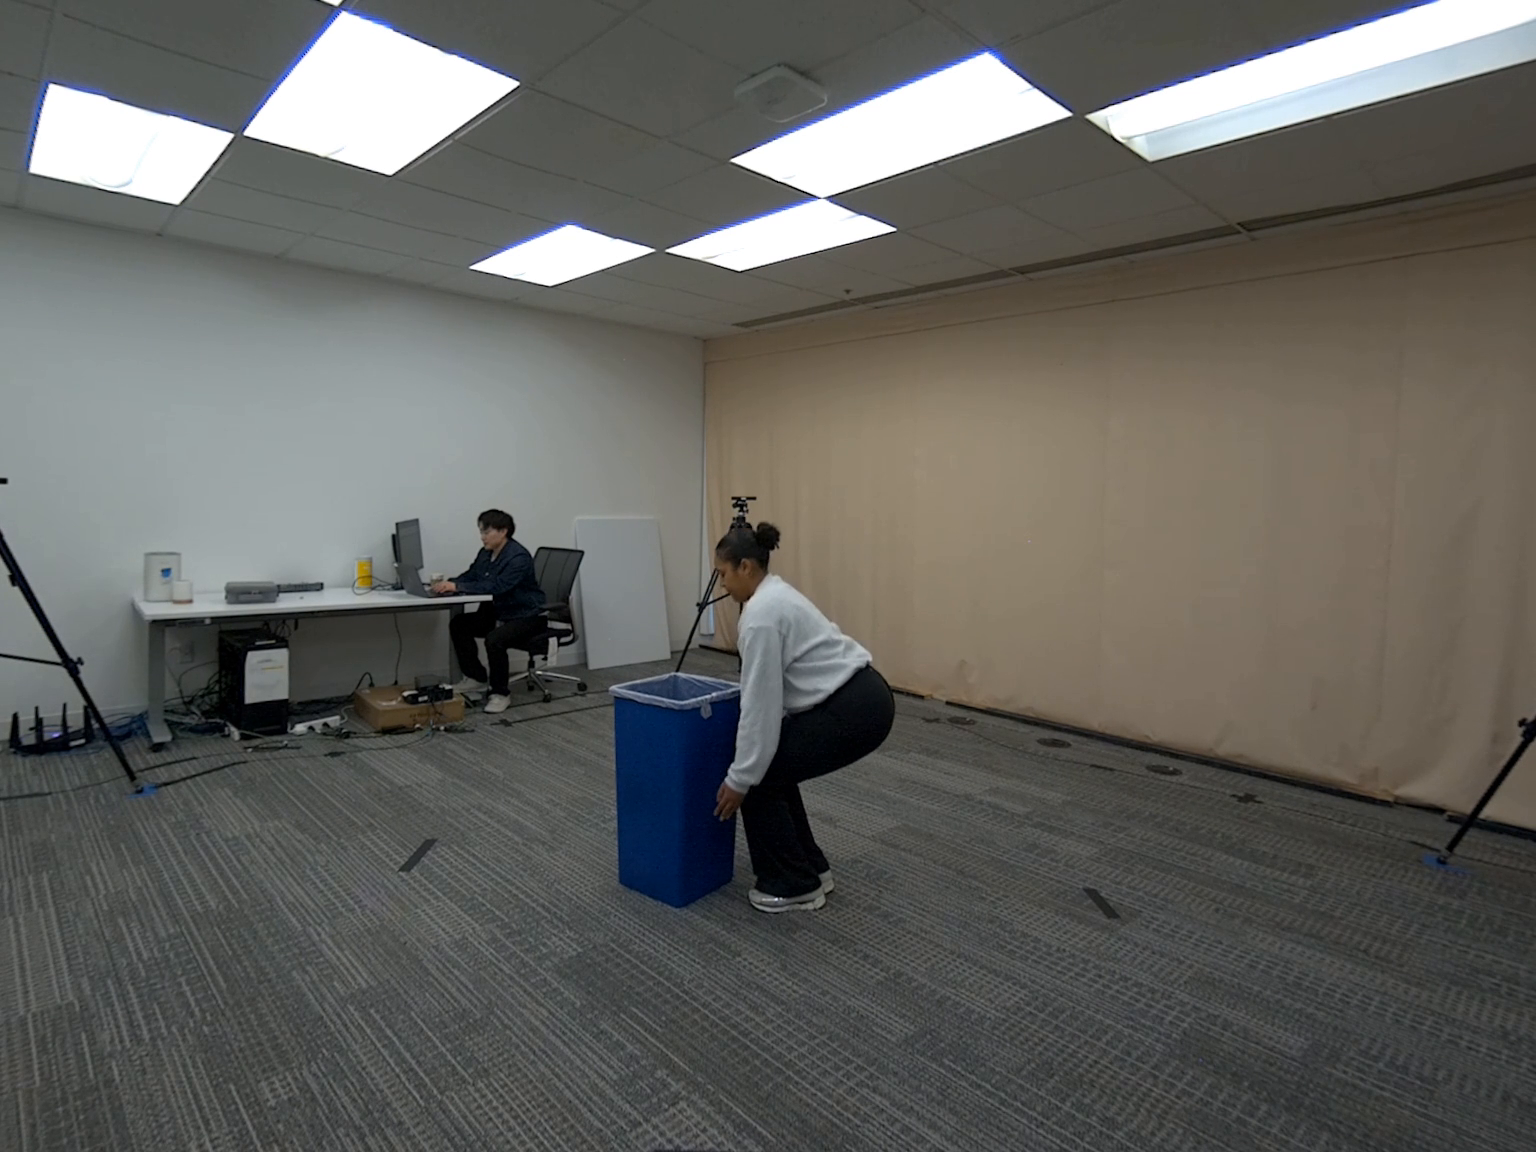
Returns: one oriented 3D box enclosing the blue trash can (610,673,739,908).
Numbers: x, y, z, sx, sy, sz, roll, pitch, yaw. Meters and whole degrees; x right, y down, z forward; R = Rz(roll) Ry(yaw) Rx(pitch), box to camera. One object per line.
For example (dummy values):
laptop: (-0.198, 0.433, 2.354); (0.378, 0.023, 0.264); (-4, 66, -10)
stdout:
blue trash can: (-0.330, 0.749, 3.038); (0.387, 0.711, 0.366); (3, 5, 35)
